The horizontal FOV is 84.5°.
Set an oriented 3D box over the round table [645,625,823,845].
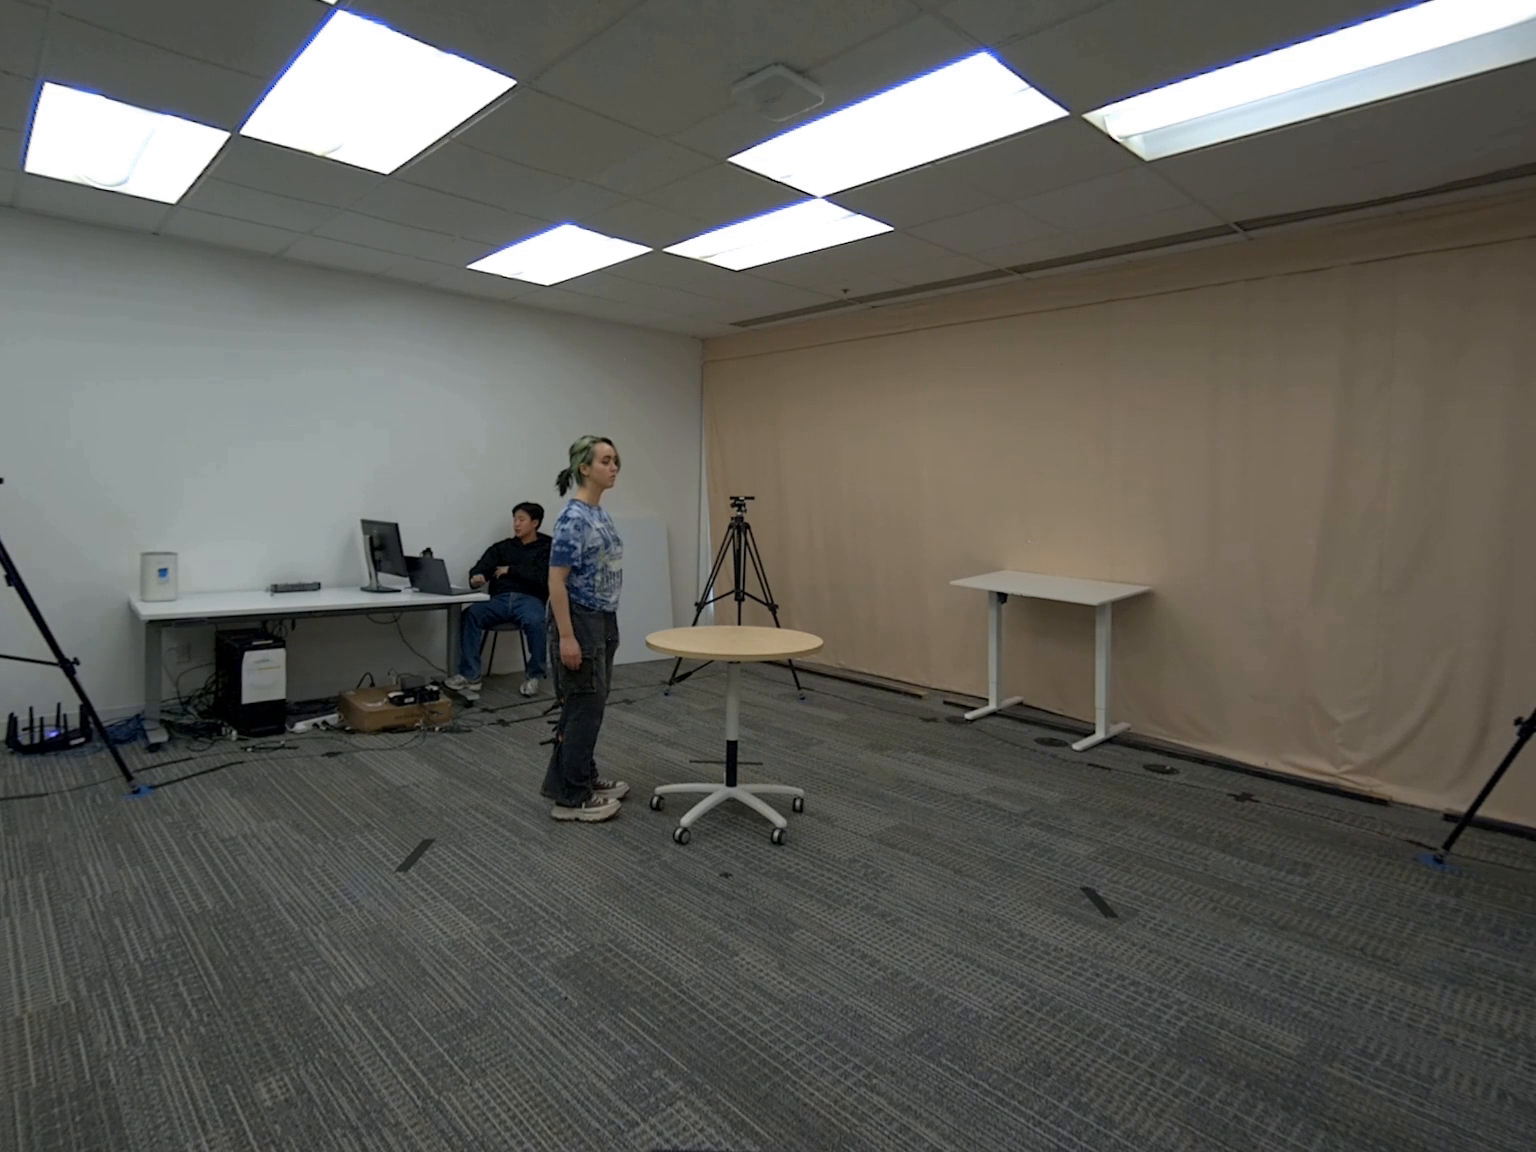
[{"bbox_3d":[-0.163,0.667,3.655,0.763,0.792,0.766,1,4,-1],"label":"round table"}]
